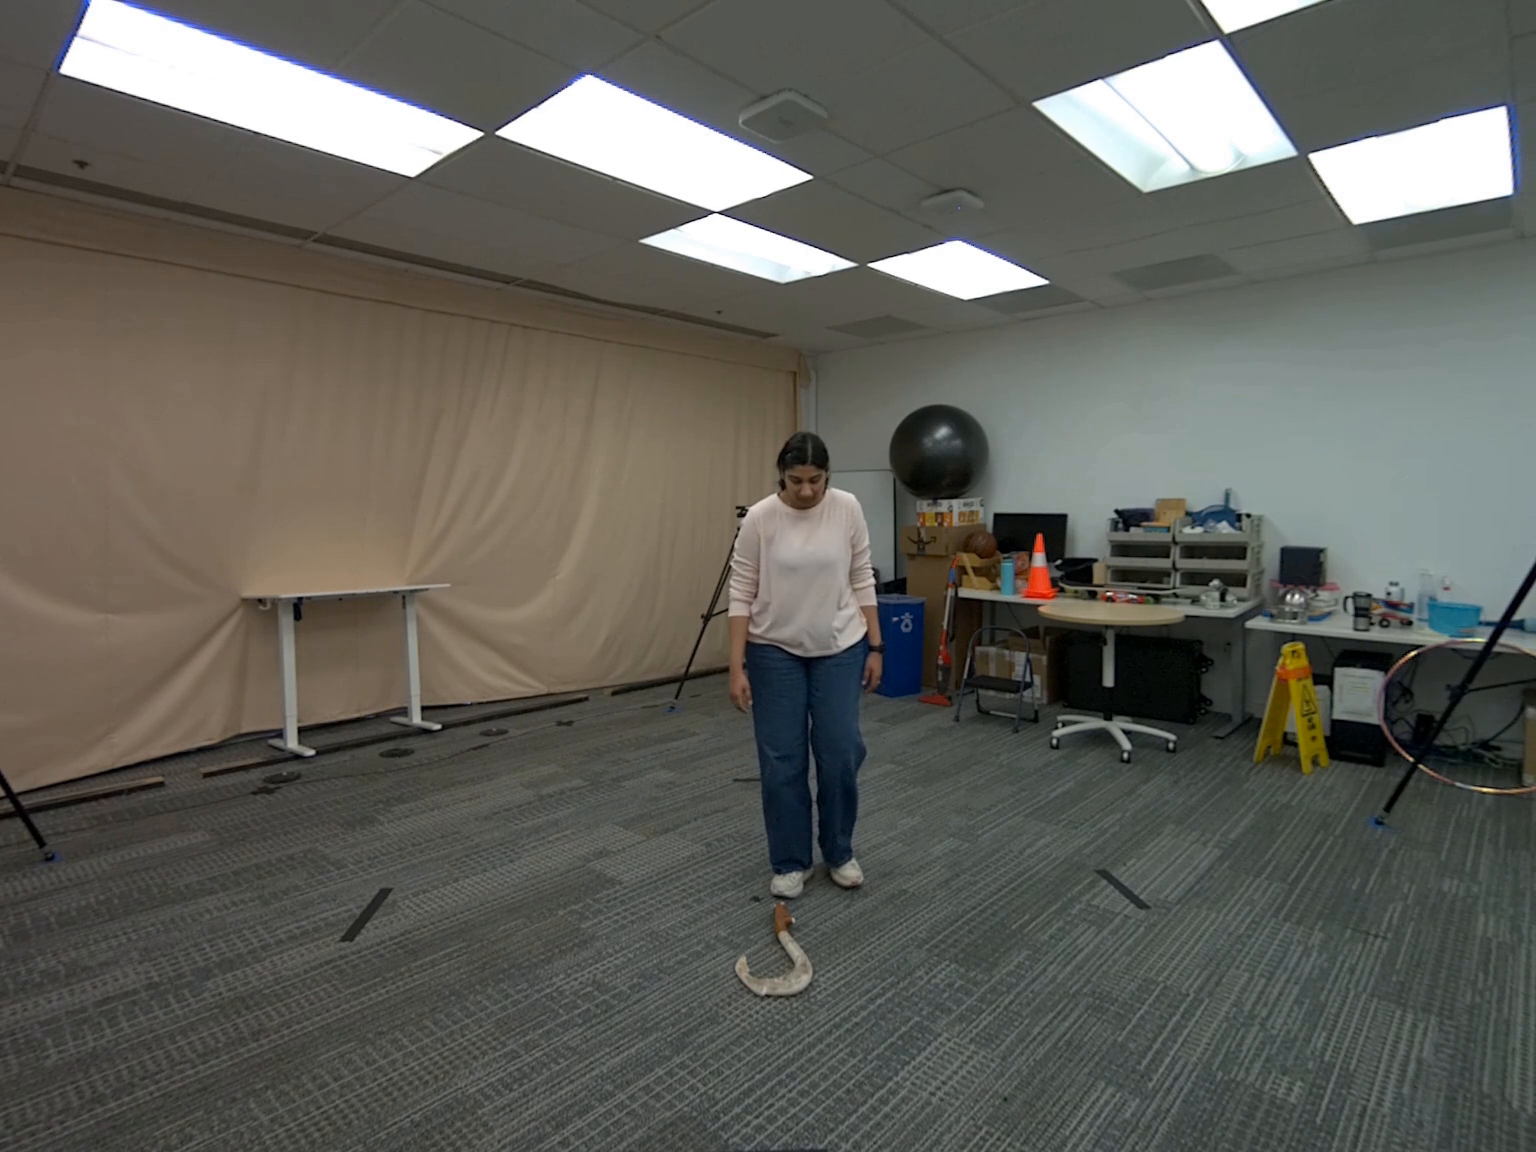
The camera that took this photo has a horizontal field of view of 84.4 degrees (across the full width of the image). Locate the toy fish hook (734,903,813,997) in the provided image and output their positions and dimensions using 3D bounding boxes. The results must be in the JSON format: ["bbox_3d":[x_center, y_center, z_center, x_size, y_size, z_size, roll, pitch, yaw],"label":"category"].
[{"bbox_3d":[0.005,1.144,2.625,0.224,0.048,0.510,1,5,-5],"label":"toy fish hook"}]
